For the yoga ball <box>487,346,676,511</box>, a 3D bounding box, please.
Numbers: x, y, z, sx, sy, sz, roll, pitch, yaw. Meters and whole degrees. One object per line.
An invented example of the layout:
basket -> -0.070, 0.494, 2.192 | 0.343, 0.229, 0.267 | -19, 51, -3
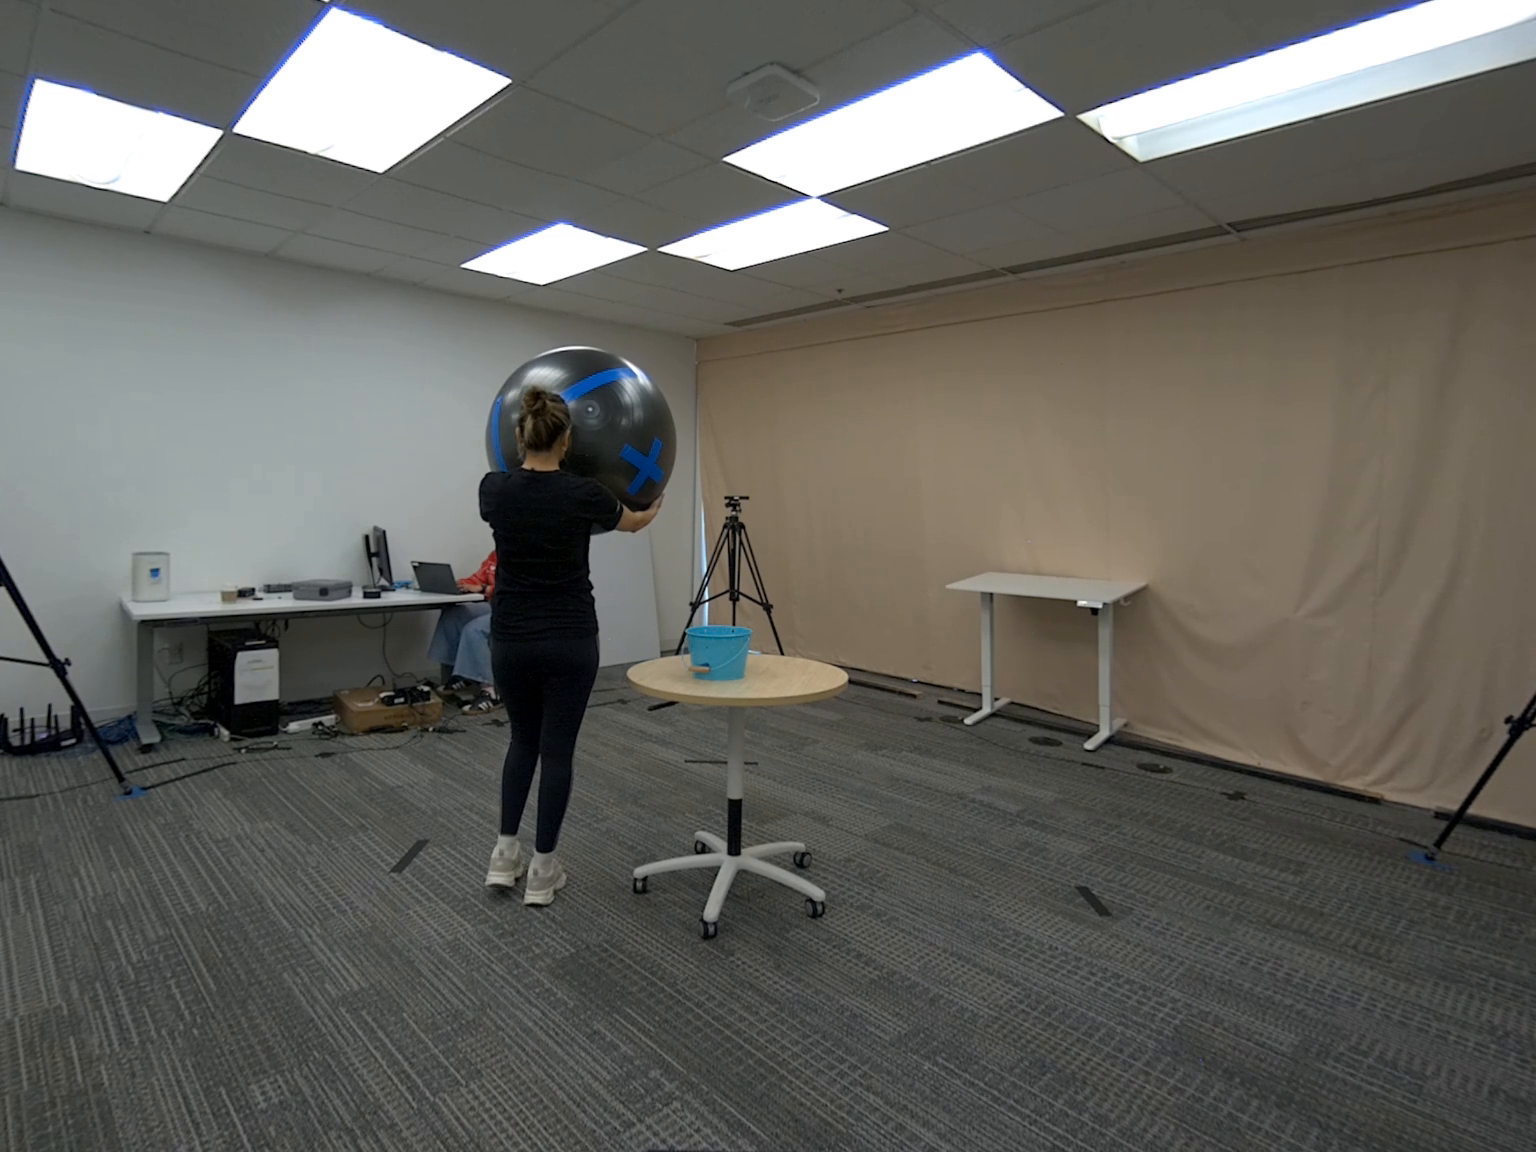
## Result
yoga ball -> -0.756, -0.533, 3.399 | 0.757, 0.756, 0.761 | 1, 4, -1
